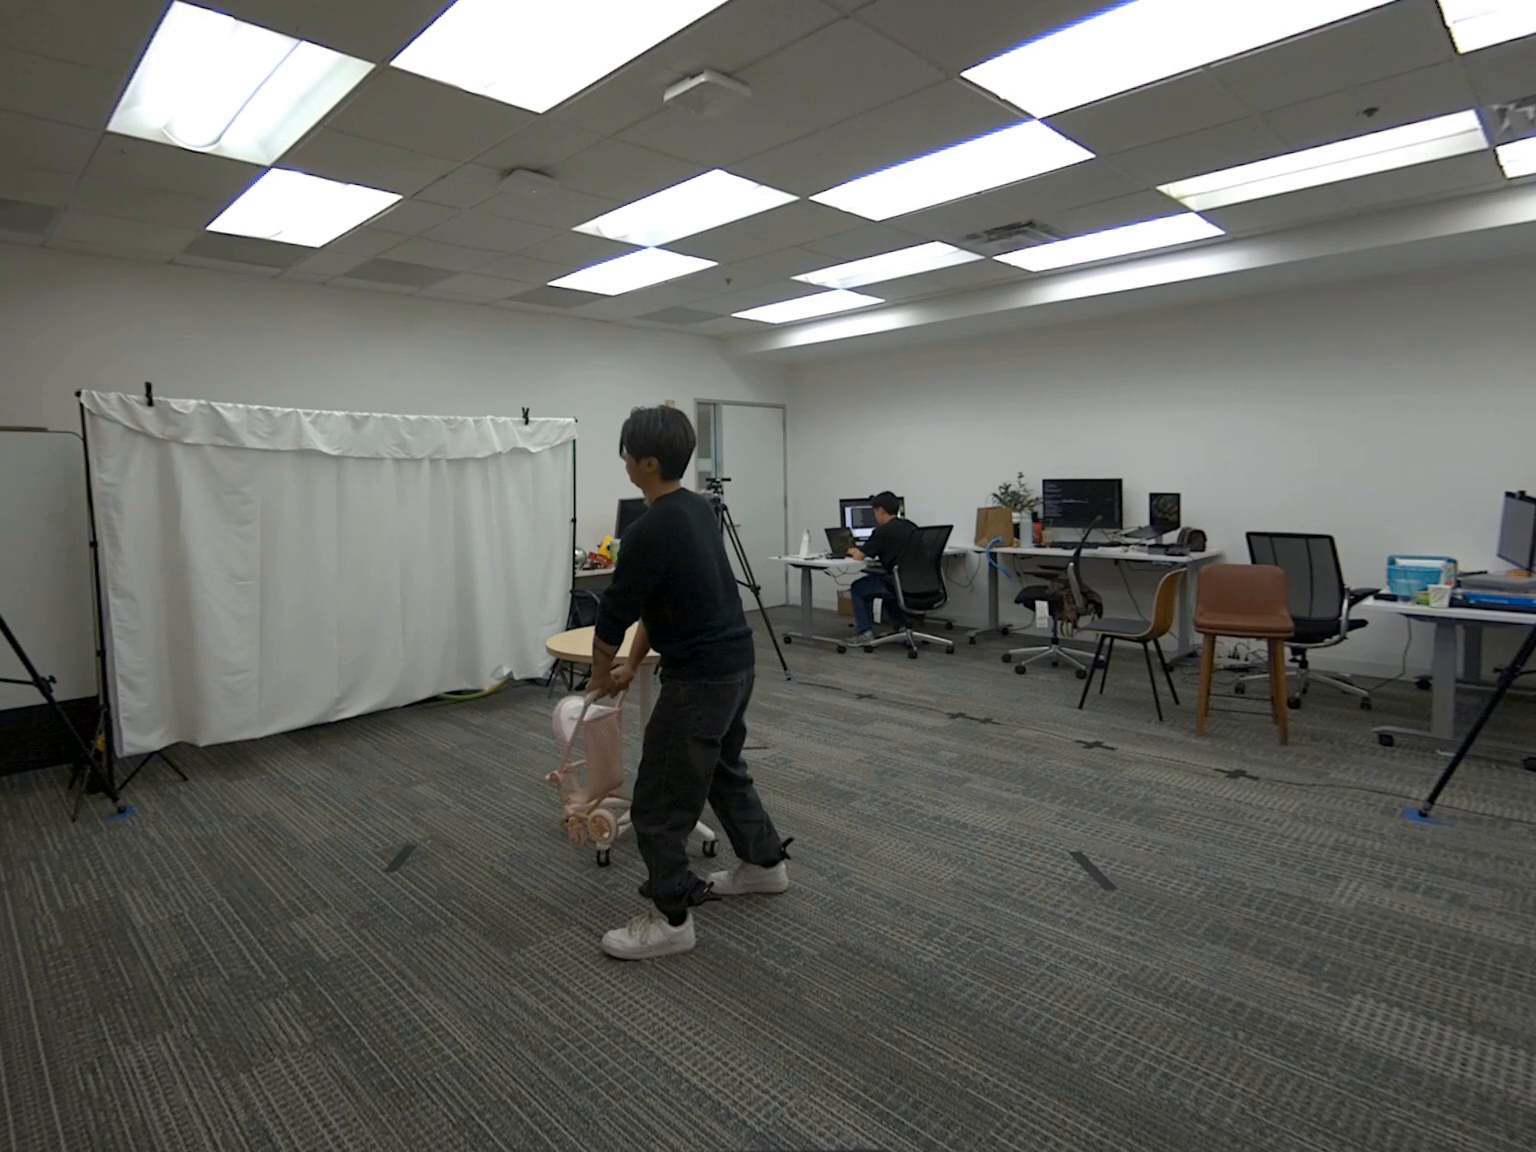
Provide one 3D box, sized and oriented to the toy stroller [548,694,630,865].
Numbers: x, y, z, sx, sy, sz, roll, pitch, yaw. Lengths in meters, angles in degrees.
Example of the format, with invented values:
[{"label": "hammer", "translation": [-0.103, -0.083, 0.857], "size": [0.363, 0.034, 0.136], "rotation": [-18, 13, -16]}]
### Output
[{"label": "toy stroller", "translation": [-0.568, 0.624, 2.795], "size": [0.349, 0.535, 0.275], "rotation": [-12, 0, 36]}]
